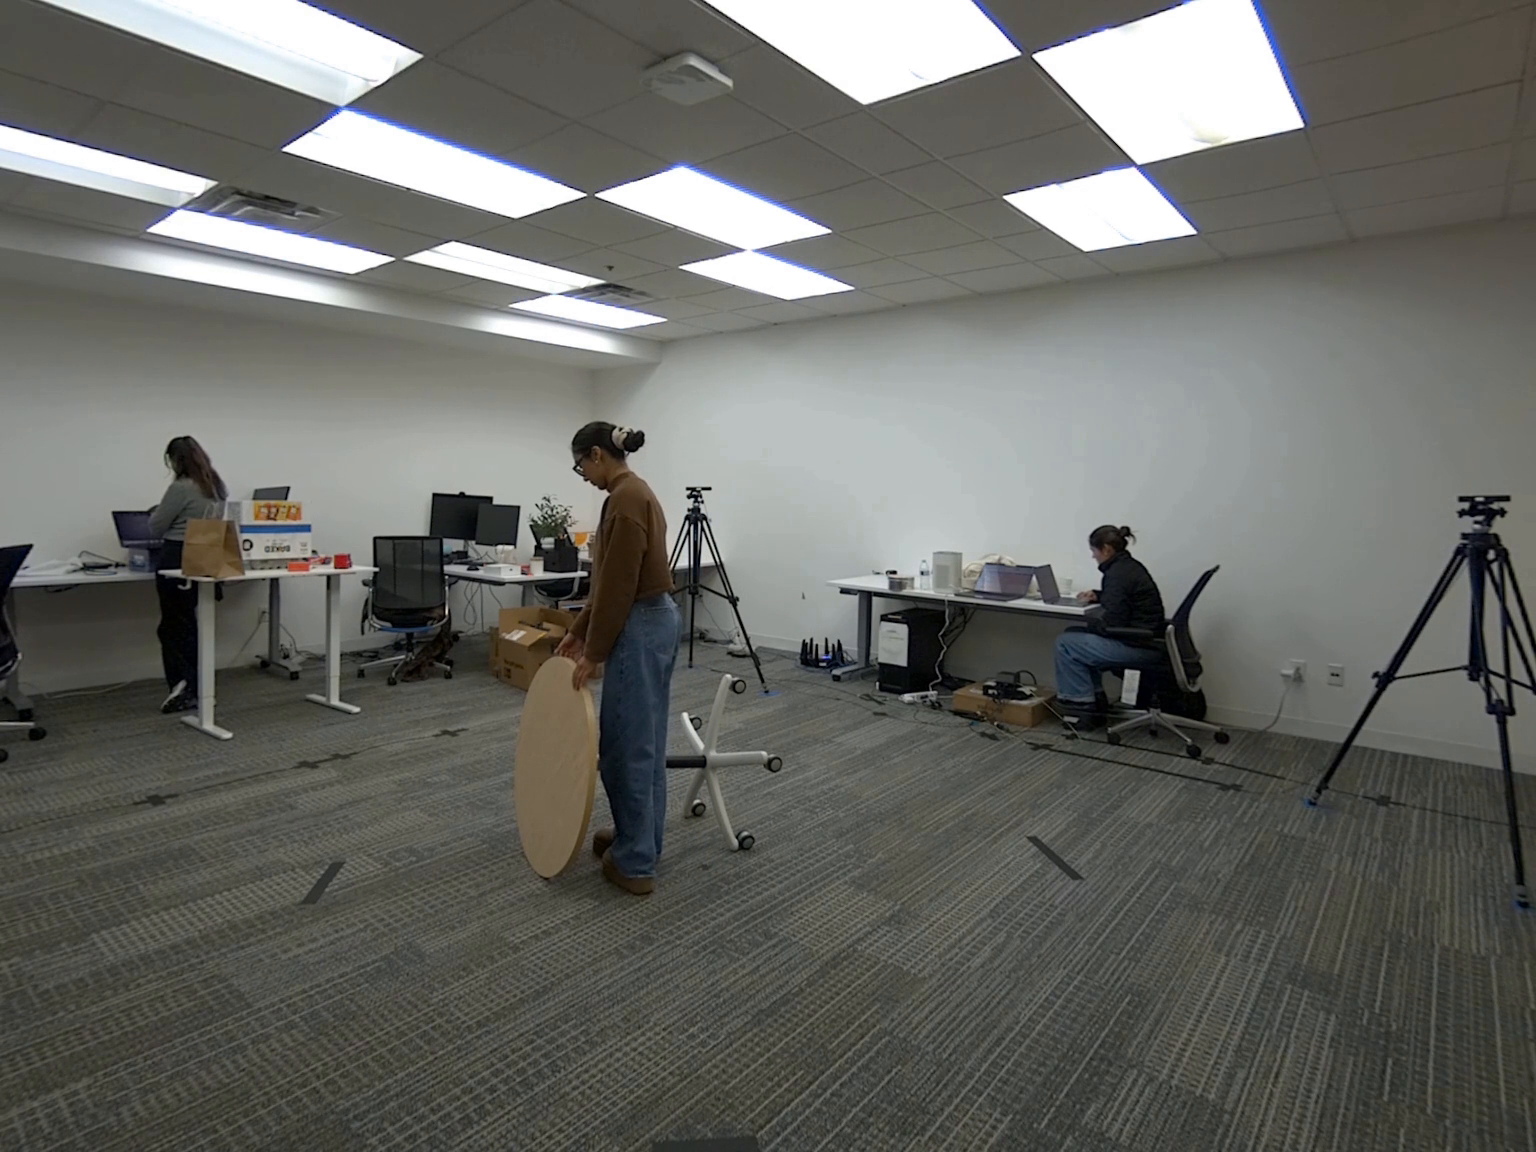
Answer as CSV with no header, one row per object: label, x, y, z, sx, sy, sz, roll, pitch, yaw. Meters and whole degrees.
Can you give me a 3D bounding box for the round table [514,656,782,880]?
round table,-0.482,0.711,3.278,0.769,0.764,0.788,7,0,-32
